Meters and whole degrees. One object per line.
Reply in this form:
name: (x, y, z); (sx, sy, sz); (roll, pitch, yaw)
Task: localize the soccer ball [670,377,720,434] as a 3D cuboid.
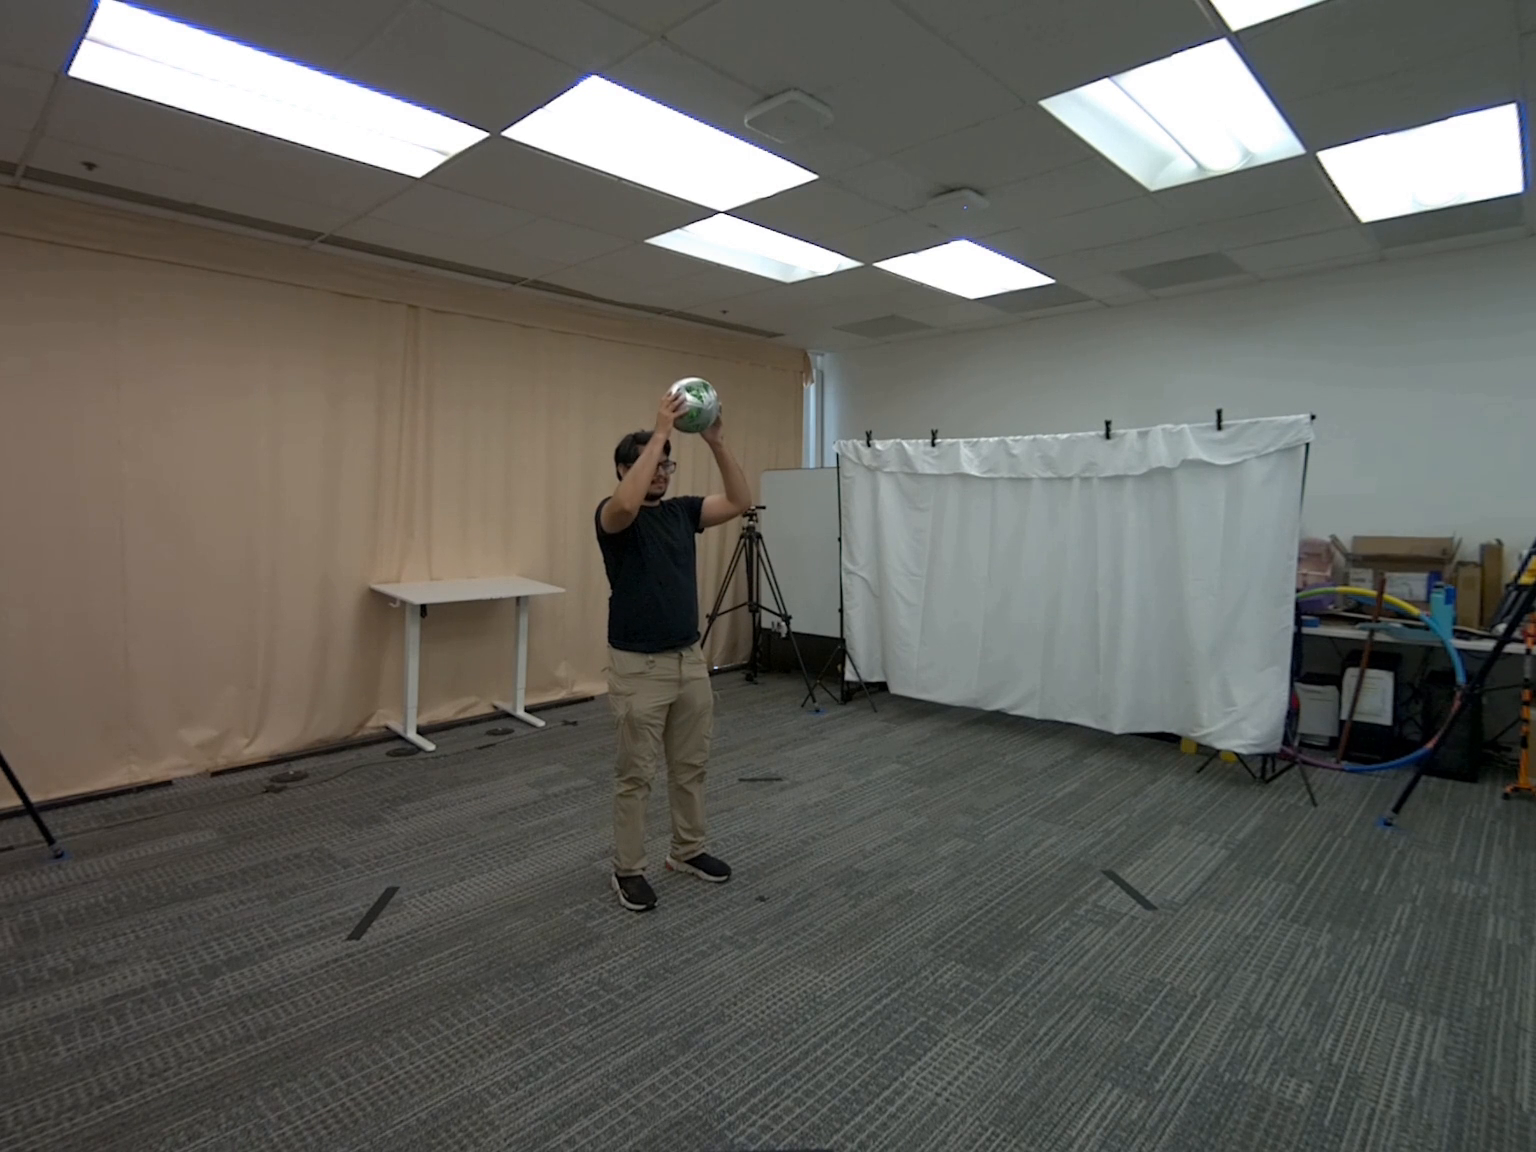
soccer ball: (-0.254, -0.567, 2.817); (0.187, 0.187, 0.188); (0, 4, -2)
